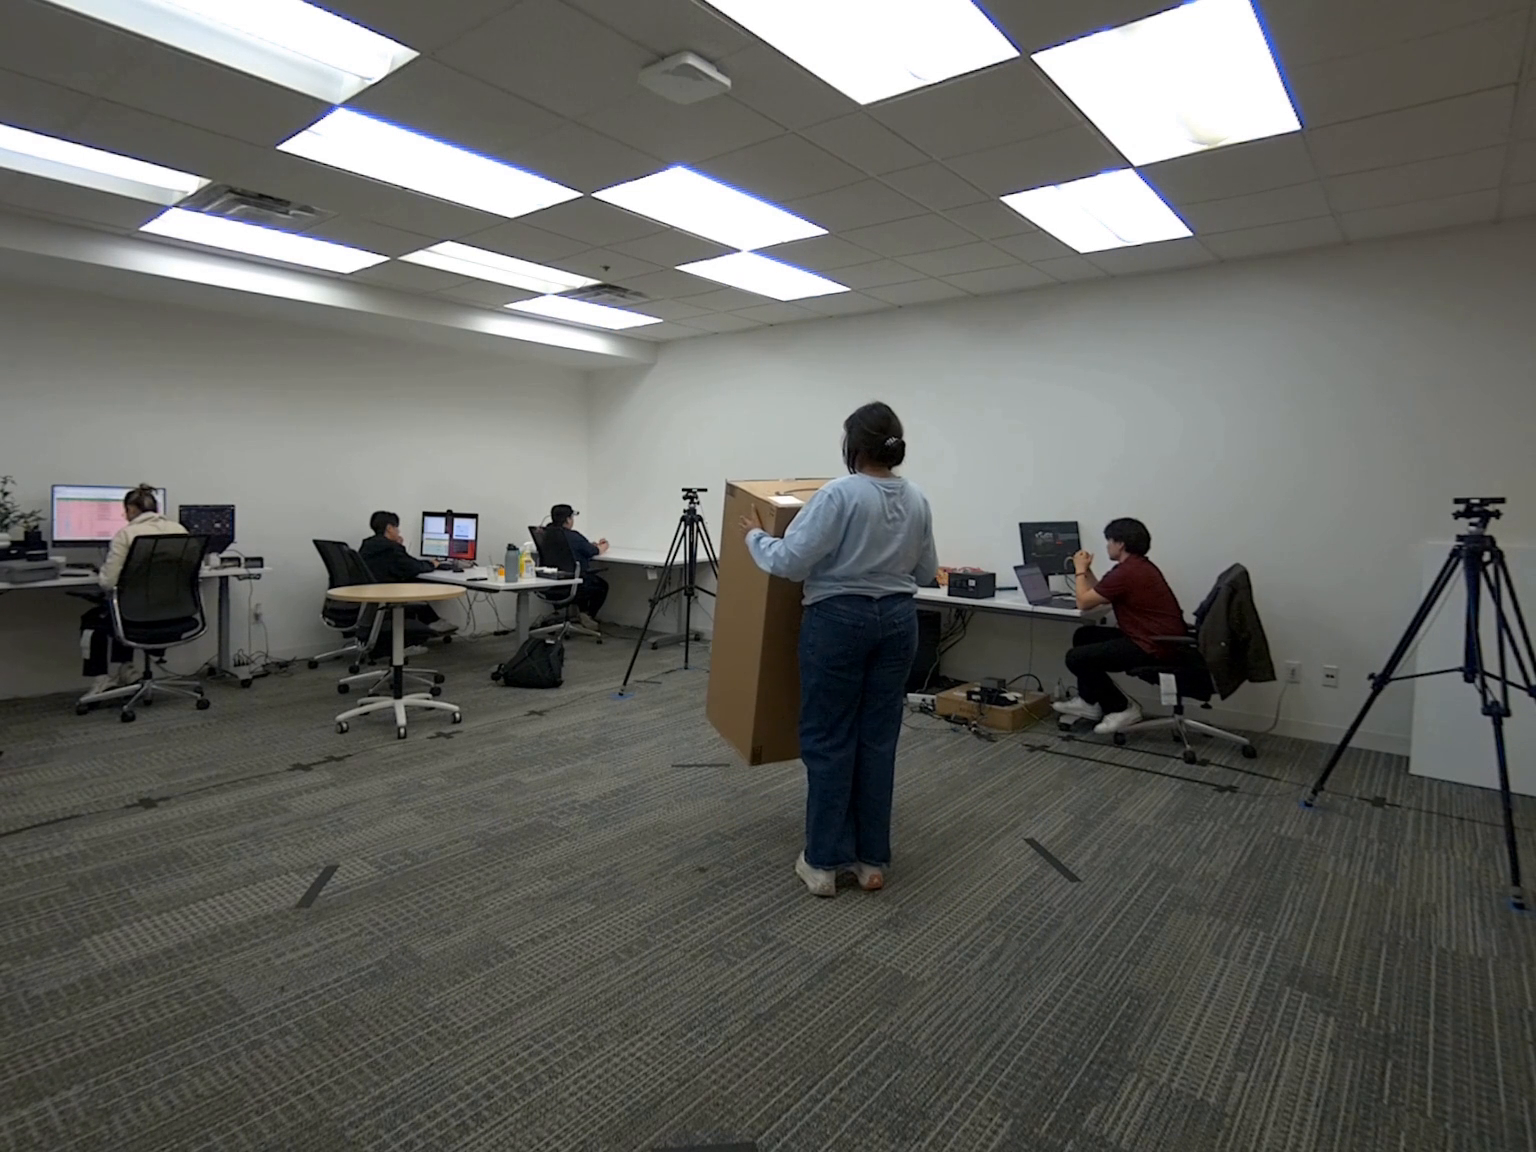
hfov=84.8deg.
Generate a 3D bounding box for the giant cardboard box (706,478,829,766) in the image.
[{"bbox_3d":[0.118,0.160,3.399,0.570,1.013,0.463,-2,18,-26],"label":"giant cardboard box"}]
